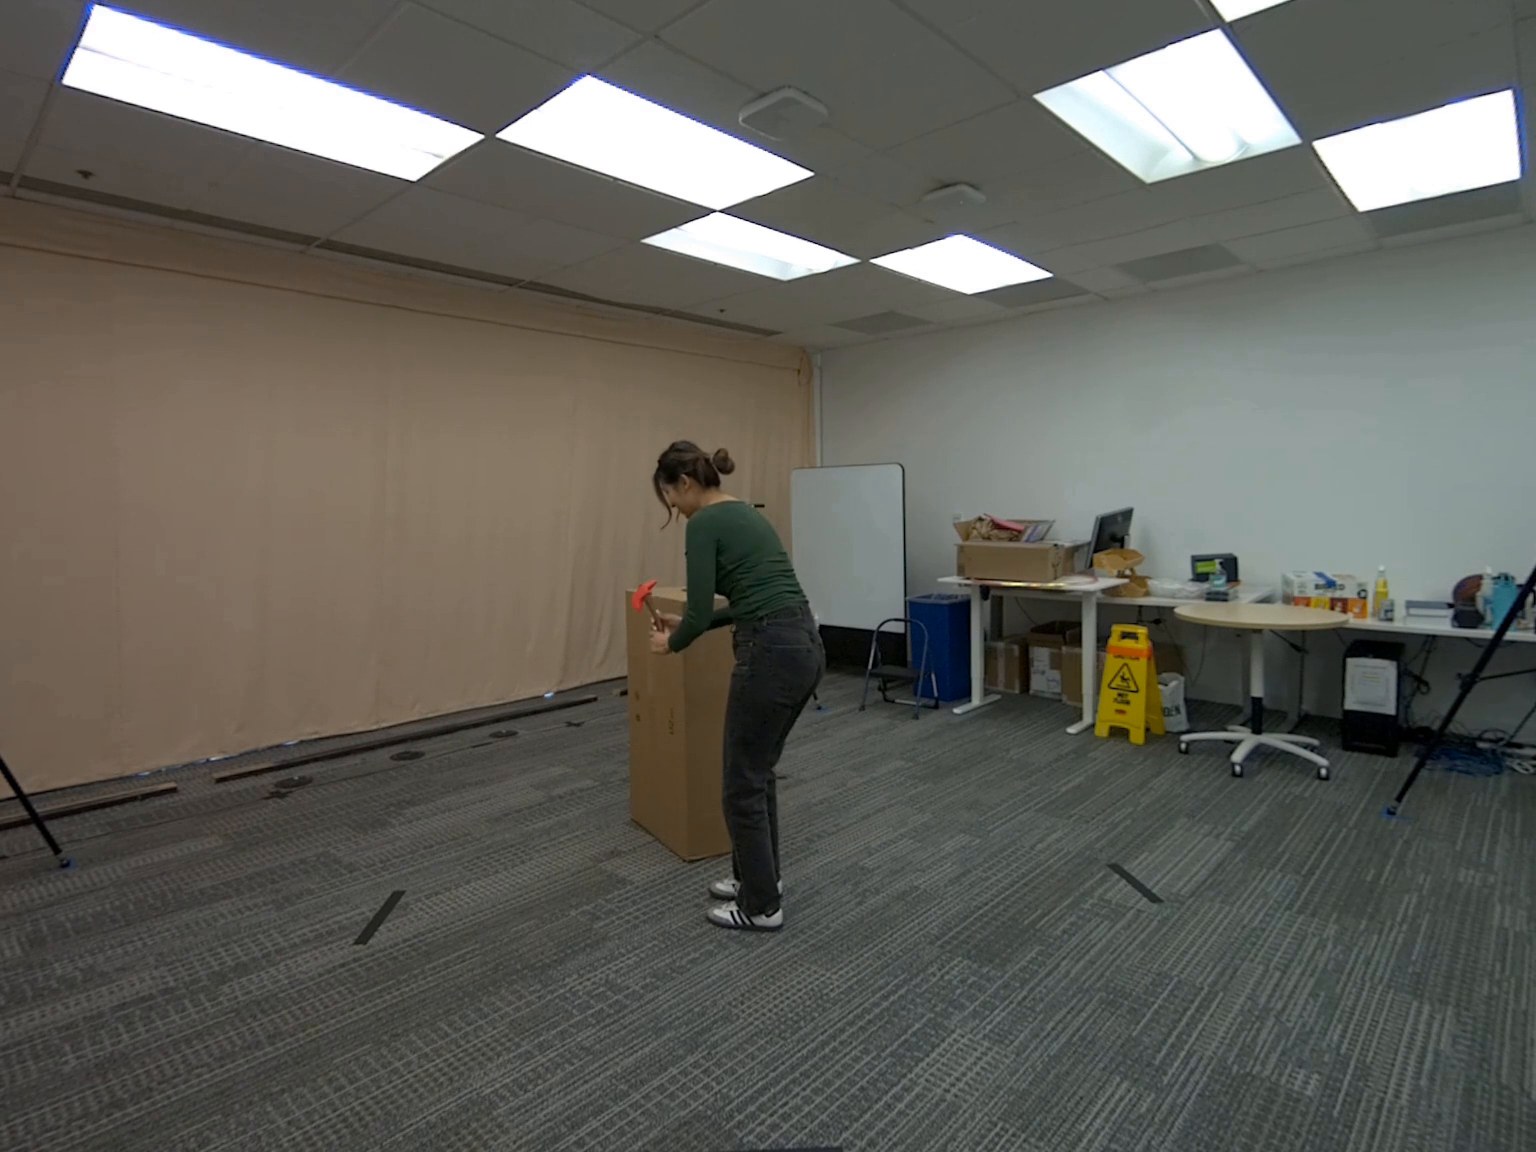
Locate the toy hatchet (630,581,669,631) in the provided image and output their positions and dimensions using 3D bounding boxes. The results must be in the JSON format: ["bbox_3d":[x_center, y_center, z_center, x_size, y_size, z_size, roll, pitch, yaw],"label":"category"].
[{"bbox_3d":[-0.422,0.158,2.991,0.133,0.275,0.028,-24,-29,25],"label":"toy hatchet"}]
